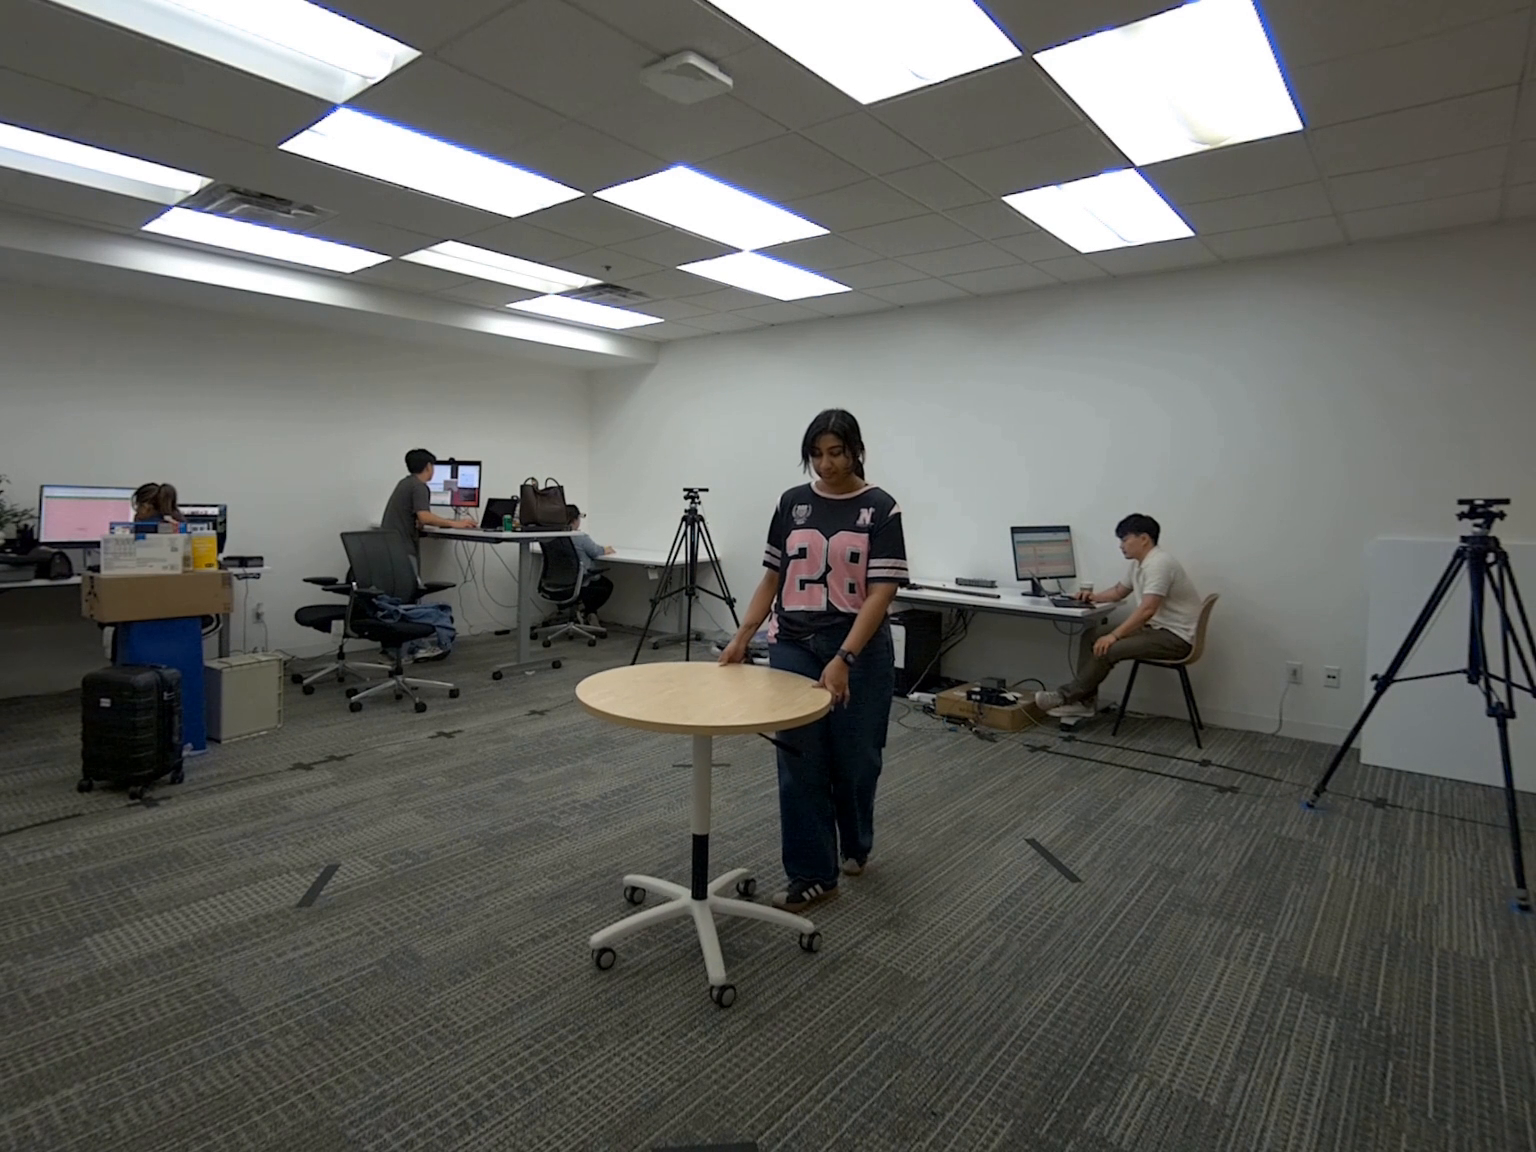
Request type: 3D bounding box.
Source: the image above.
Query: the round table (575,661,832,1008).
[{"bbox_3d":[-0.214,0.730,2.592,0.763,0.791,0.768,1,5,-2],"label":"round table"}]
